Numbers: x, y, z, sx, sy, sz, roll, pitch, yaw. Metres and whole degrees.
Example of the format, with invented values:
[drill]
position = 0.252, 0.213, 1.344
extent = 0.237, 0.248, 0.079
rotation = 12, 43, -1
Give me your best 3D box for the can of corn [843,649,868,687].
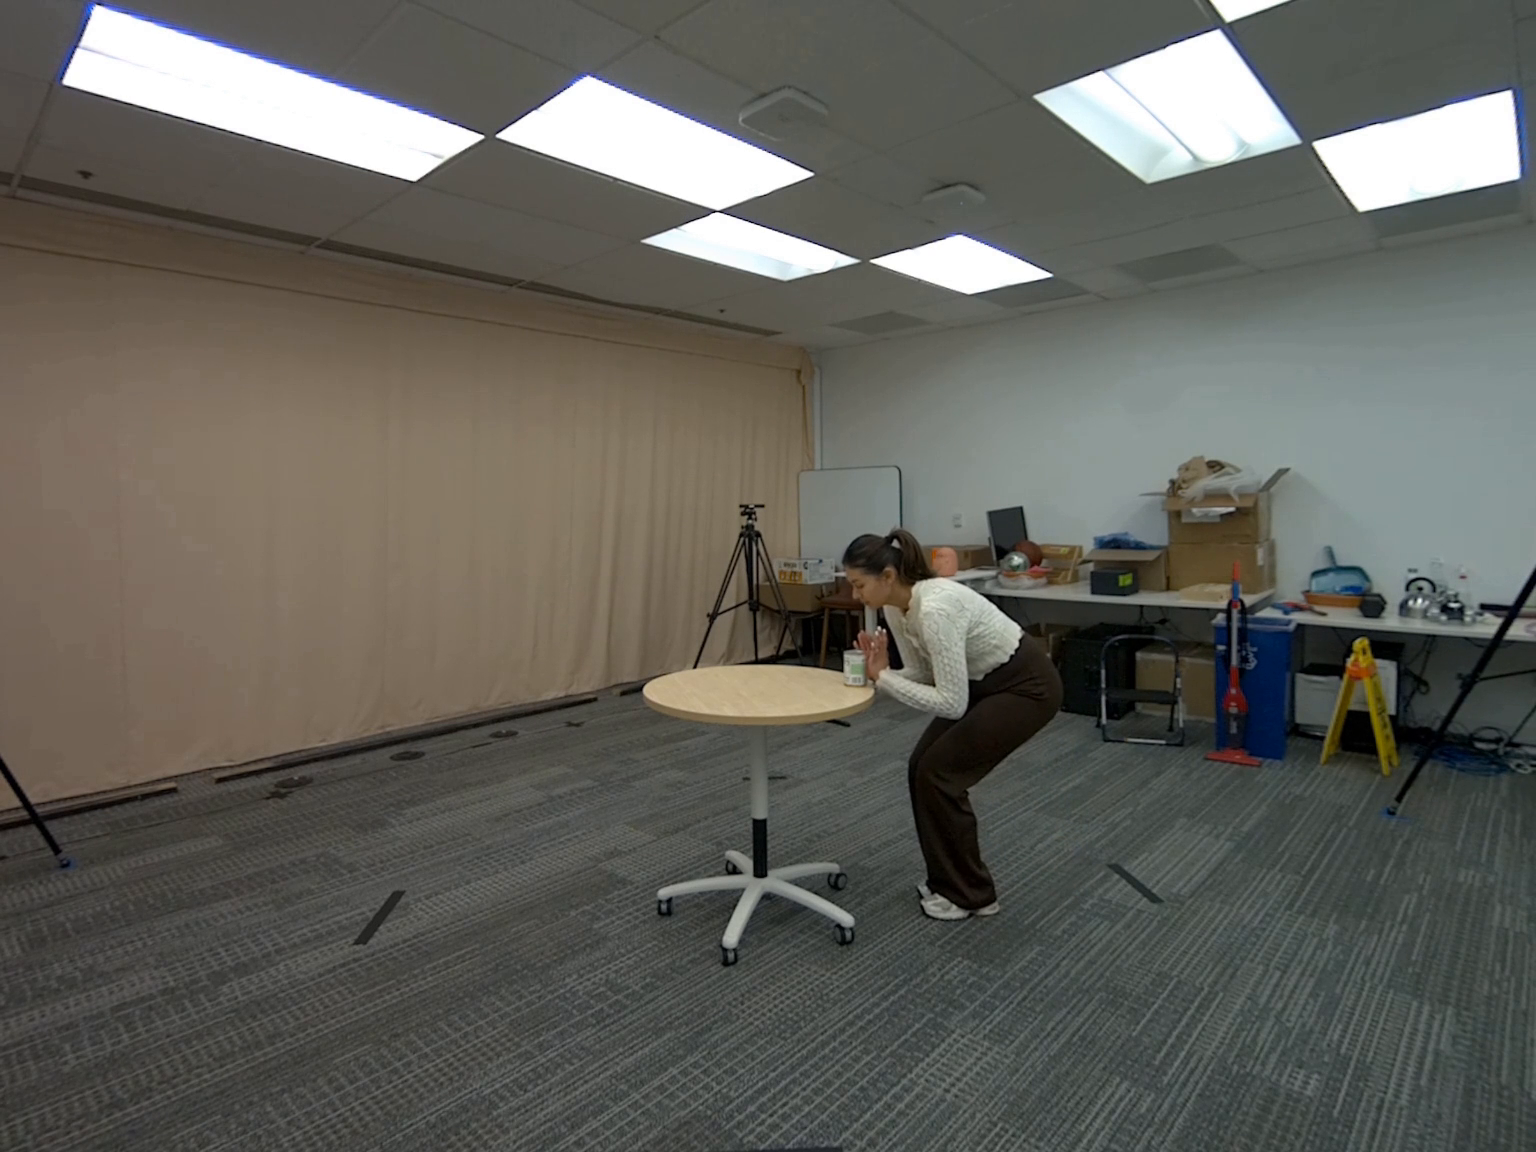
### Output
[can of corn]
position = 0.304, 0.316, 2.817
extent = 0.074, 0.110, 0.074
rotation = -1, 6, -2
